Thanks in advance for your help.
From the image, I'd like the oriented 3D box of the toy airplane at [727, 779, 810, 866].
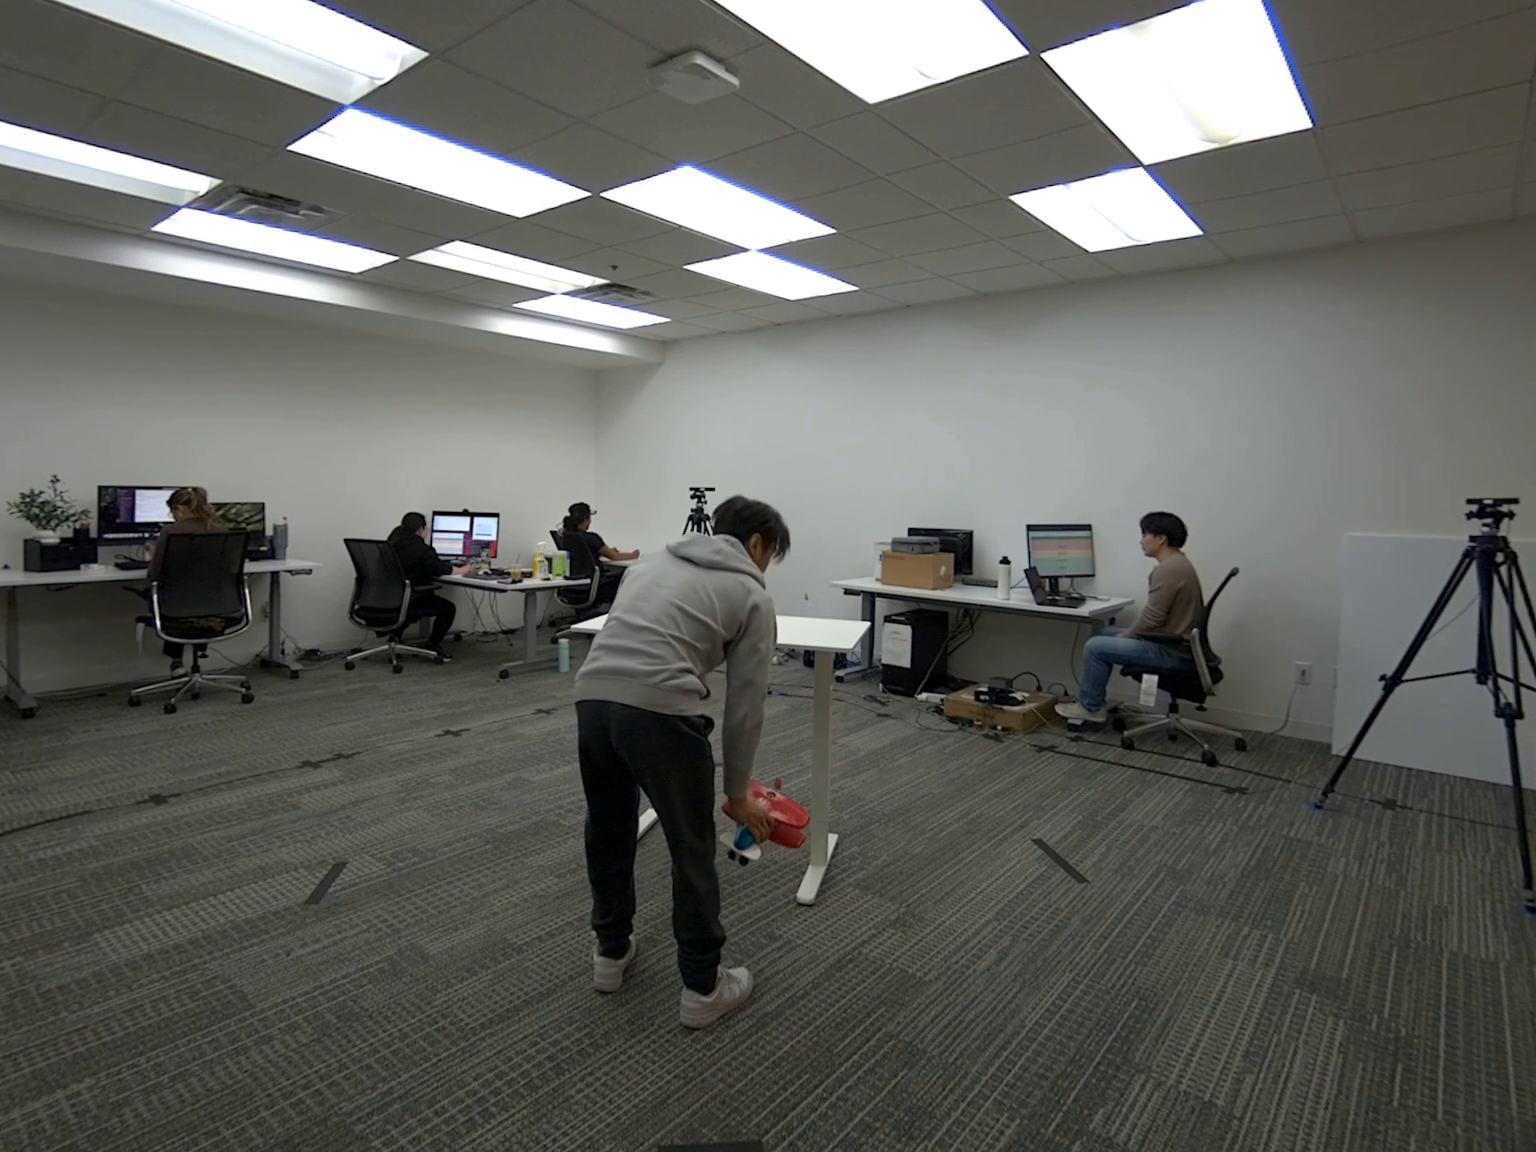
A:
[{"bbox_3d":[-0.003,0.705,2.389,0.249,0.155,0.264,13,15,-7],"label":"toy airplane"}]
